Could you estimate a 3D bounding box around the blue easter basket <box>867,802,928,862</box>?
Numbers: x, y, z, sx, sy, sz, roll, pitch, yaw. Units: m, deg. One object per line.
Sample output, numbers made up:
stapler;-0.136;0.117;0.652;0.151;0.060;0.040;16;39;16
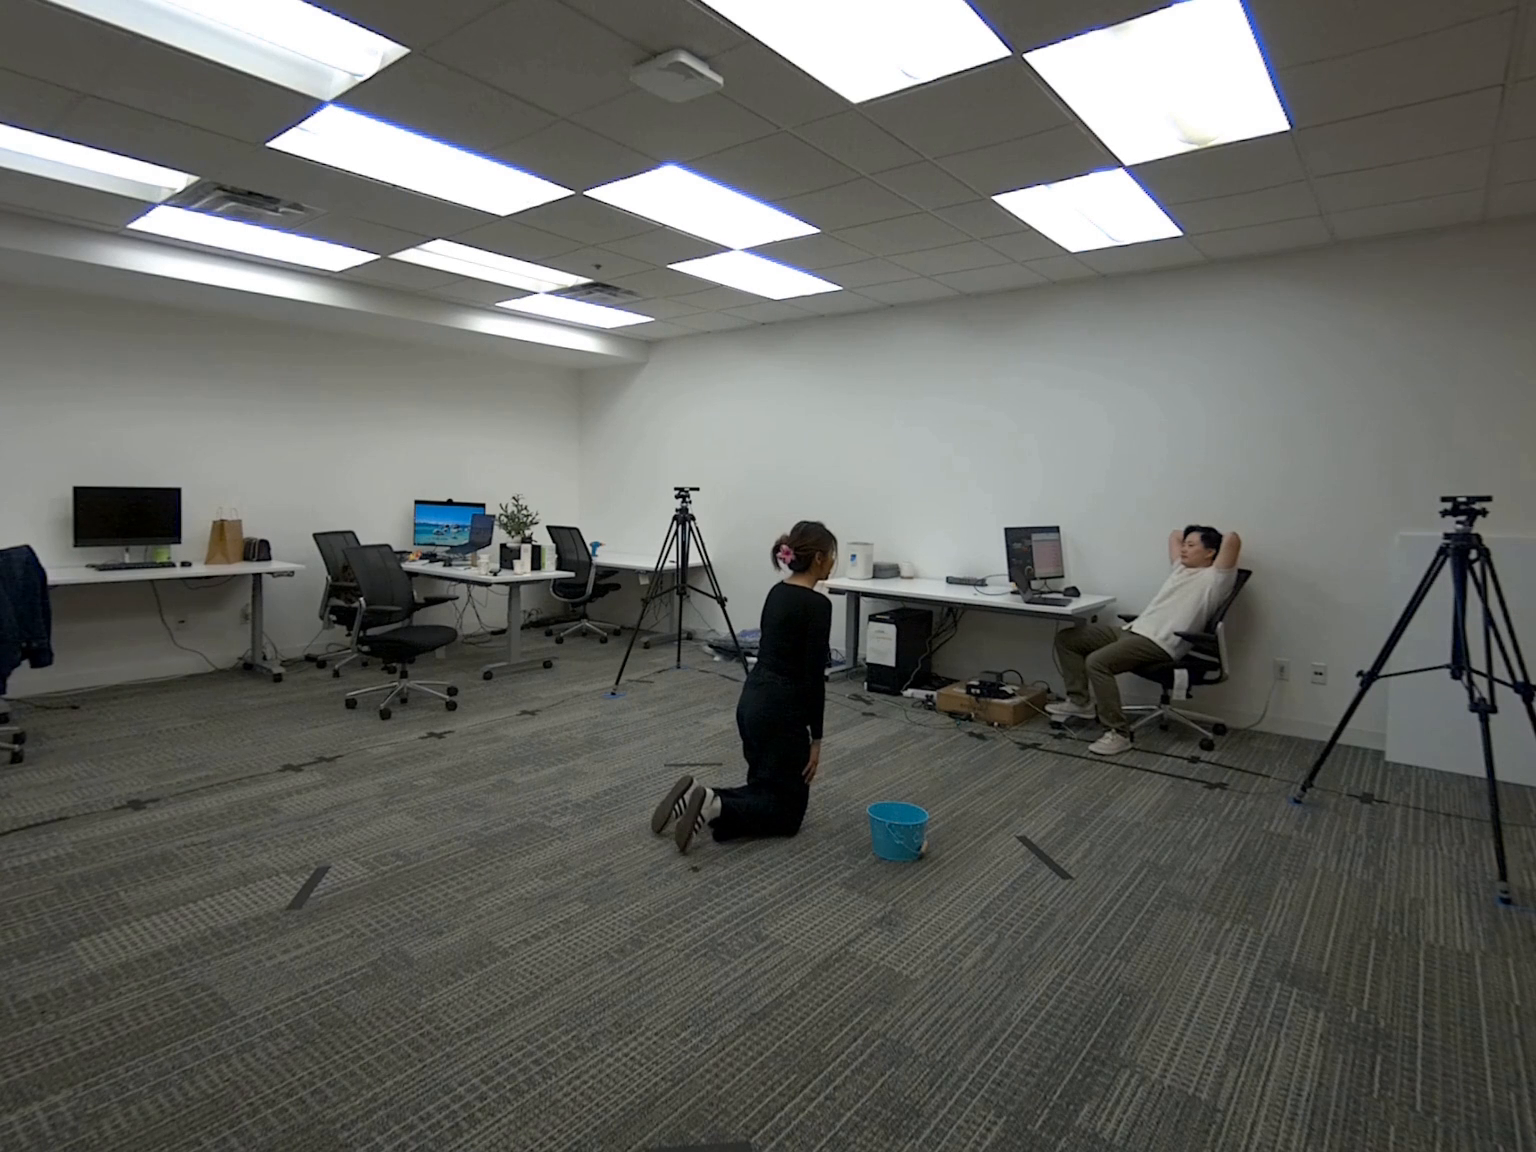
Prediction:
blue easter basket;0.493;0.987;3.290;0.243;0.155;0.245;1;5;-2
